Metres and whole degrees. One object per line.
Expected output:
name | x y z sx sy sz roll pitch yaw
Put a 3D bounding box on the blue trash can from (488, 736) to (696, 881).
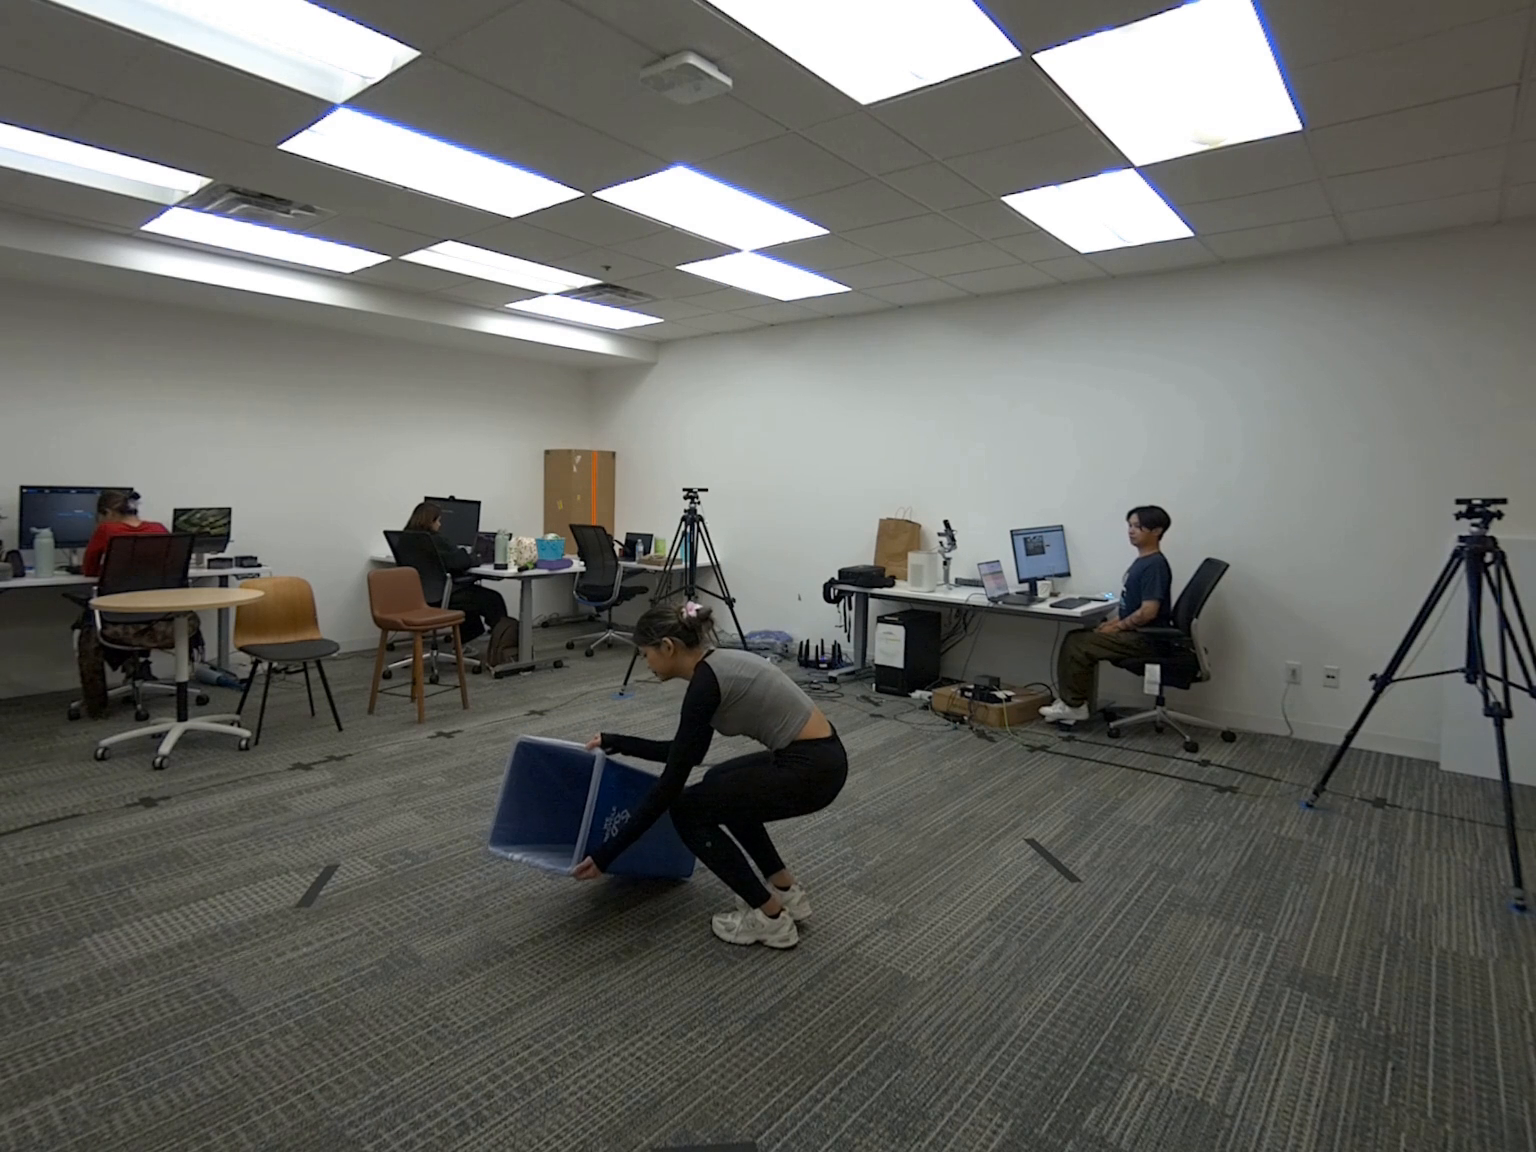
blue trash can | -0.536 0.806 2.859 0.385 0.383 0.684 0 -20 30
